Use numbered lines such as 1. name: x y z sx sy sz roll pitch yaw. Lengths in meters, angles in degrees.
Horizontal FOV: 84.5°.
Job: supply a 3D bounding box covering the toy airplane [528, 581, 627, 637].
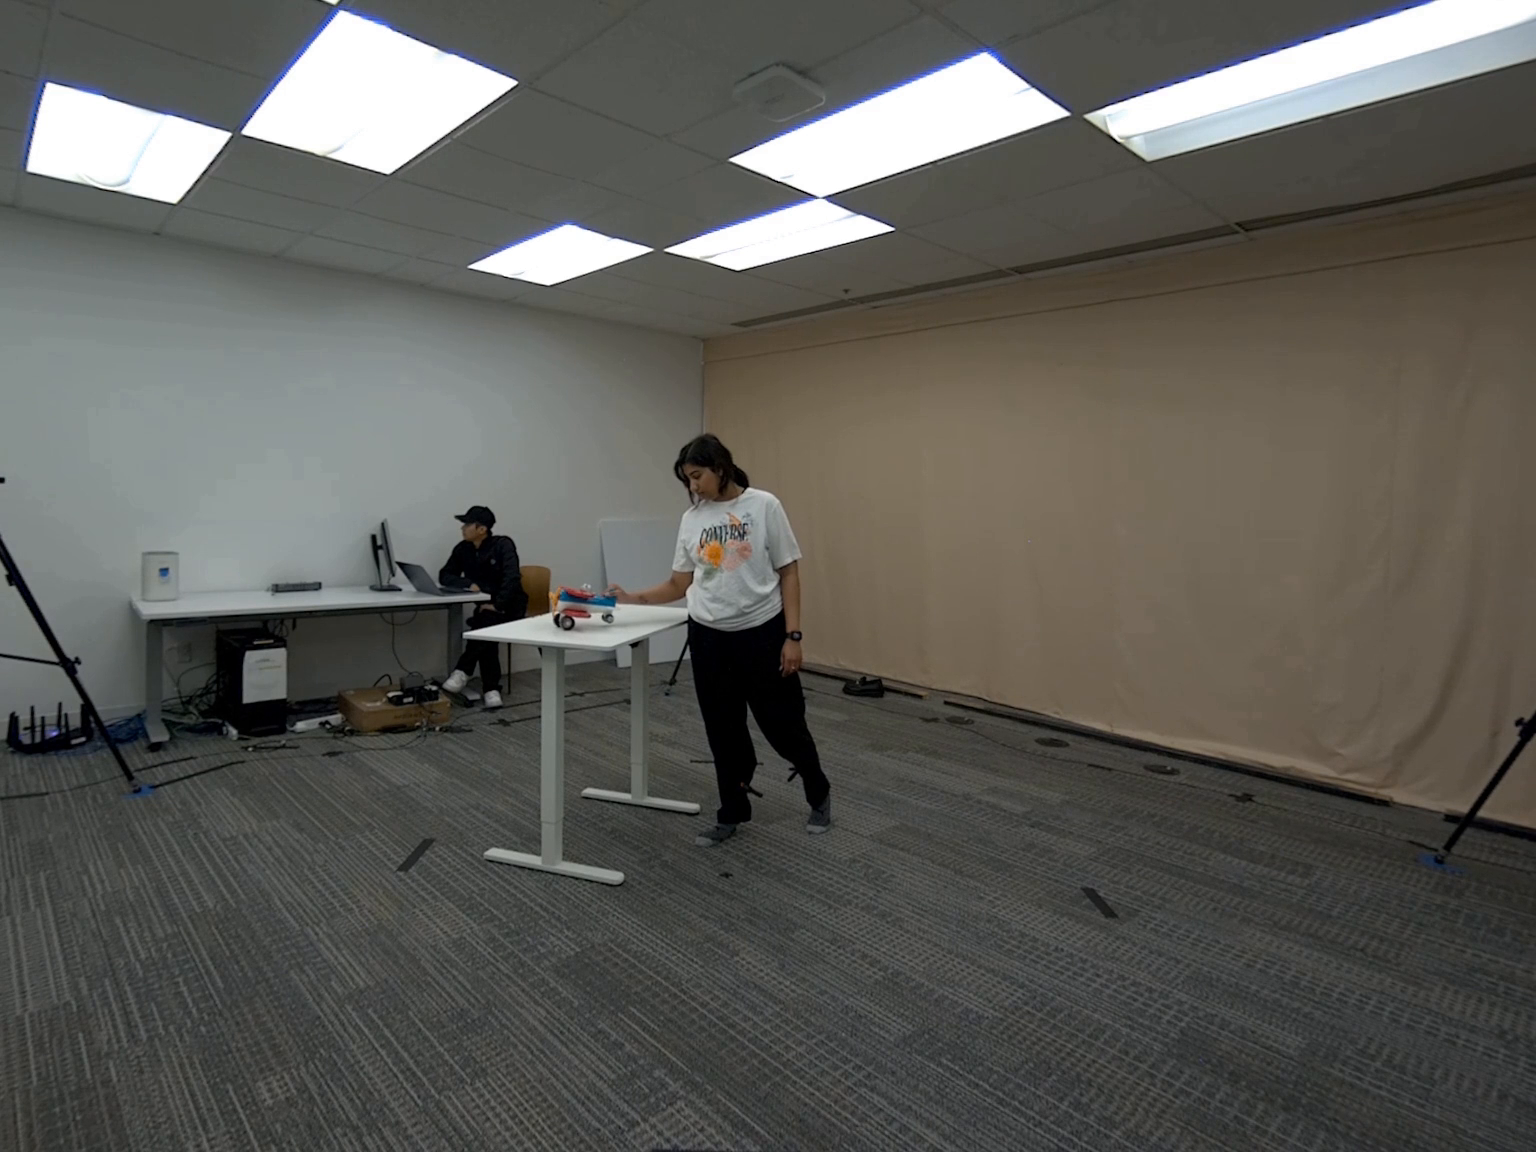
1. toy airplane: -0.730 0.118 3.239 0.257 0.155 0.255 1 8 33
